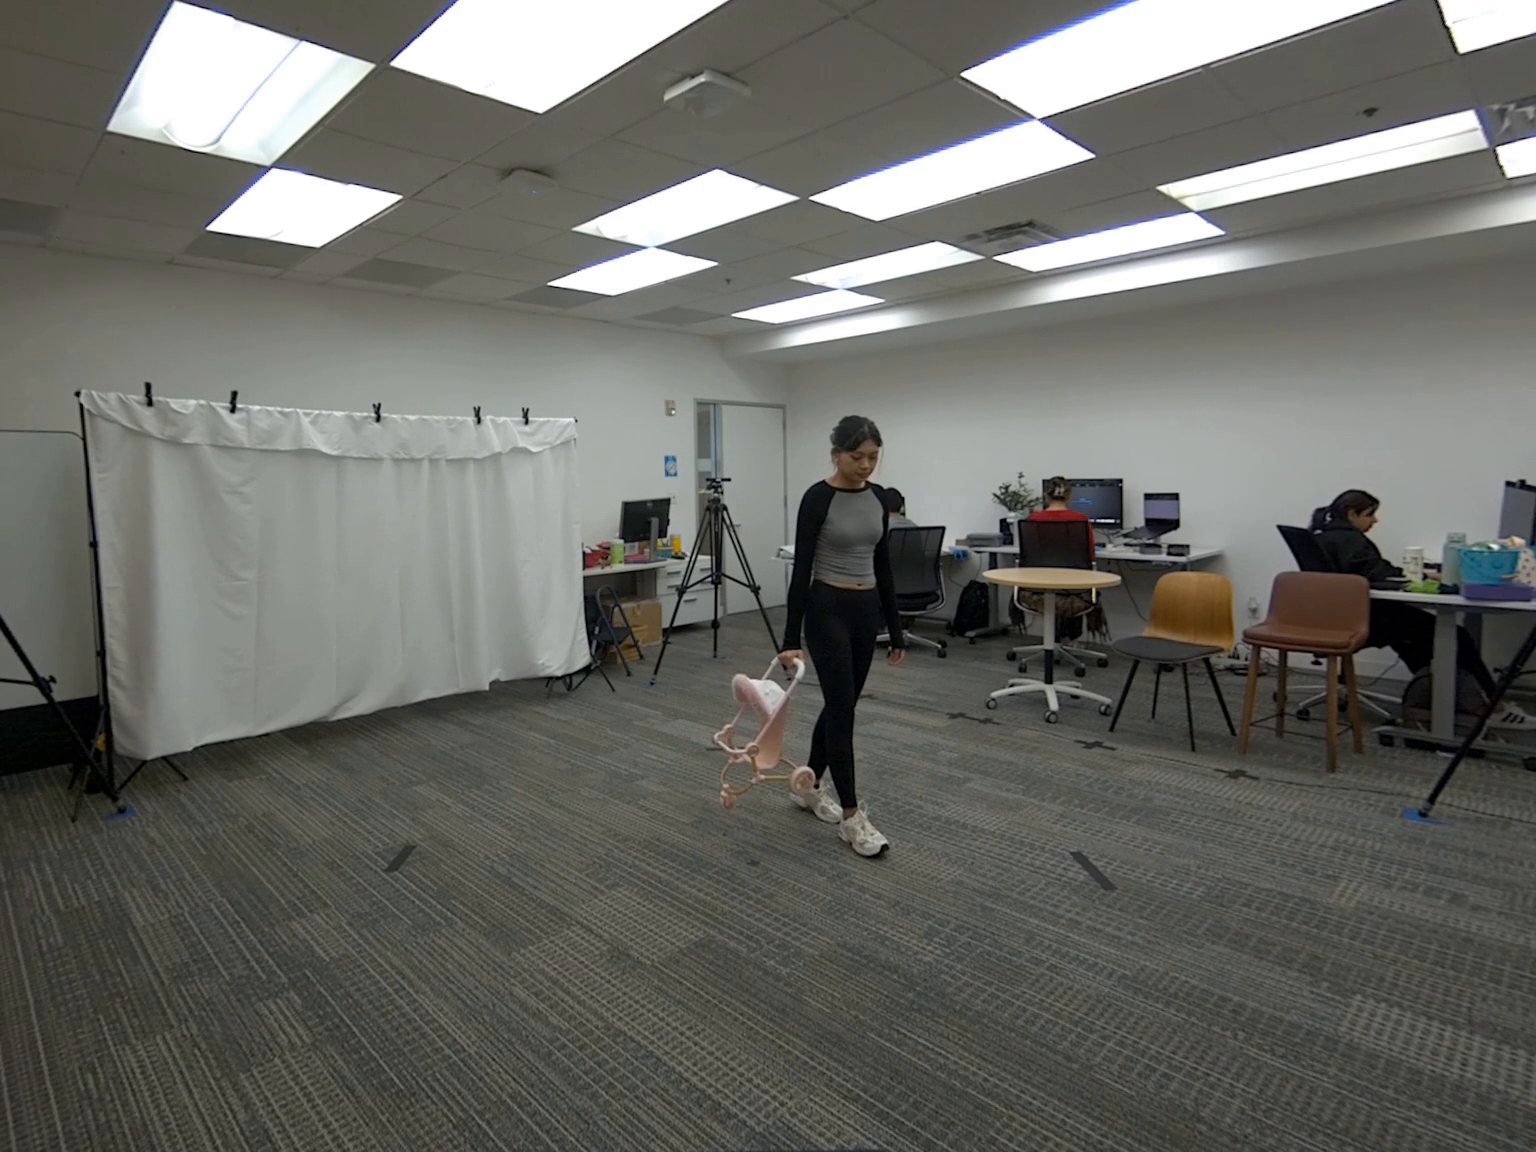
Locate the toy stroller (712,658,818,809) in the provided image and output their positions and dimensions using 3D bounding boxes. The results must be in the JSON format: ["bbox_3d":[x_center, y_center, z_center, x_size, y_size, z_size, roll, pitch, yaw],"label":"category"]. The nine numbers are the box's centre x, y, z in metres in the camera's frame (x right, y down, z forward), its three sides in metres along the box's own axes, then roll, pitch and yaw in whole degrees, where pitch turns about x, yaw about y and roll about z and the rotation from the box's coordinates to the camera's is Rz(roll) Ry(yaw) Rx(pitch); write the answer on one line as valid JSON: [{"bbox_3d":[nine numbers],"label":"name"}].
[{"bbox_3d":[-0.034,0.582,3.138,0.335,0.529,0.289,-7,12,-21],"label":"toy stroller"}]
